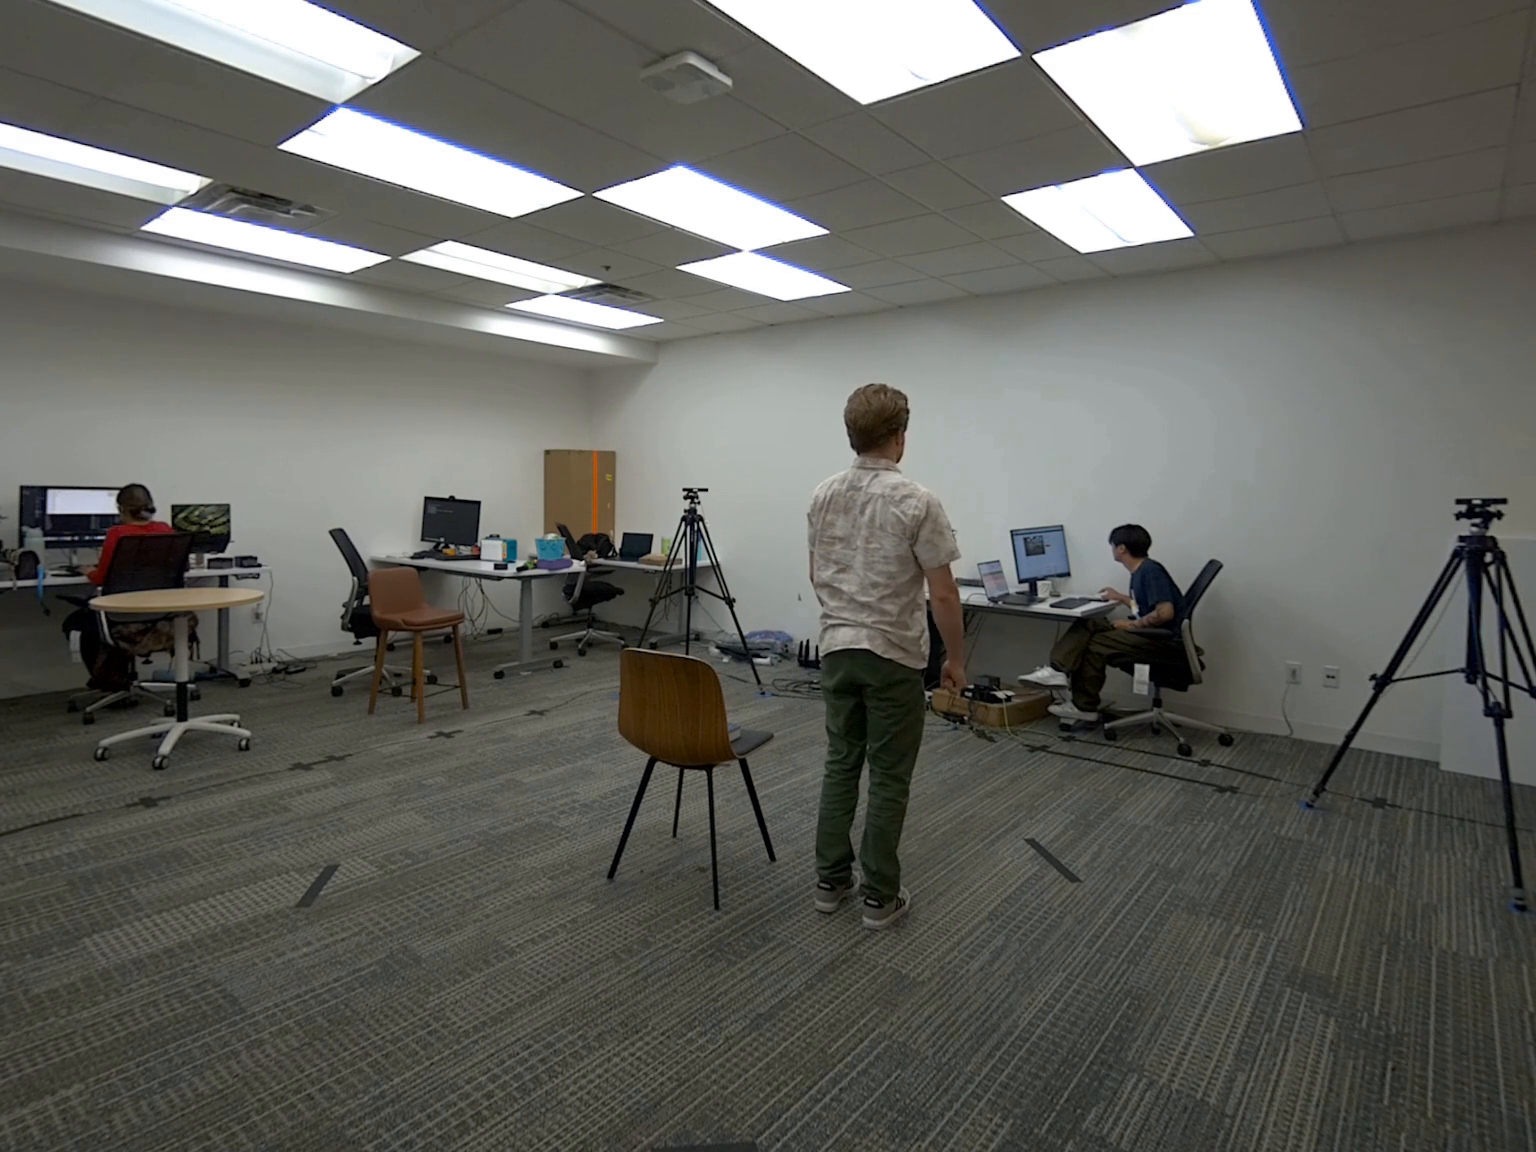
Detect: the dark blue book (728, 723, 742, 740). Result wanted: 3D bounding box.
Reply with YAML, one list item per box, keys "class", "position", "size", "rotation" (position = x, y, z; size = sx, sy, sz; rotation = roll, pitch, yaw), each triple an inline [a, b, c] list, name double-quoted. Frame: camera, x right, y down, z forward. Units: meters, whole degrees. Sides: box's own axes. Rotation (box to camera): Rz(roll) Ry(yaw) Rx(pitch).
- class: "dark blue book"
  position: [-0.253, 0.561, 3.110]
  size: [0.253, 0.045, 0.159]
  rotation: [6, 10, 37]
